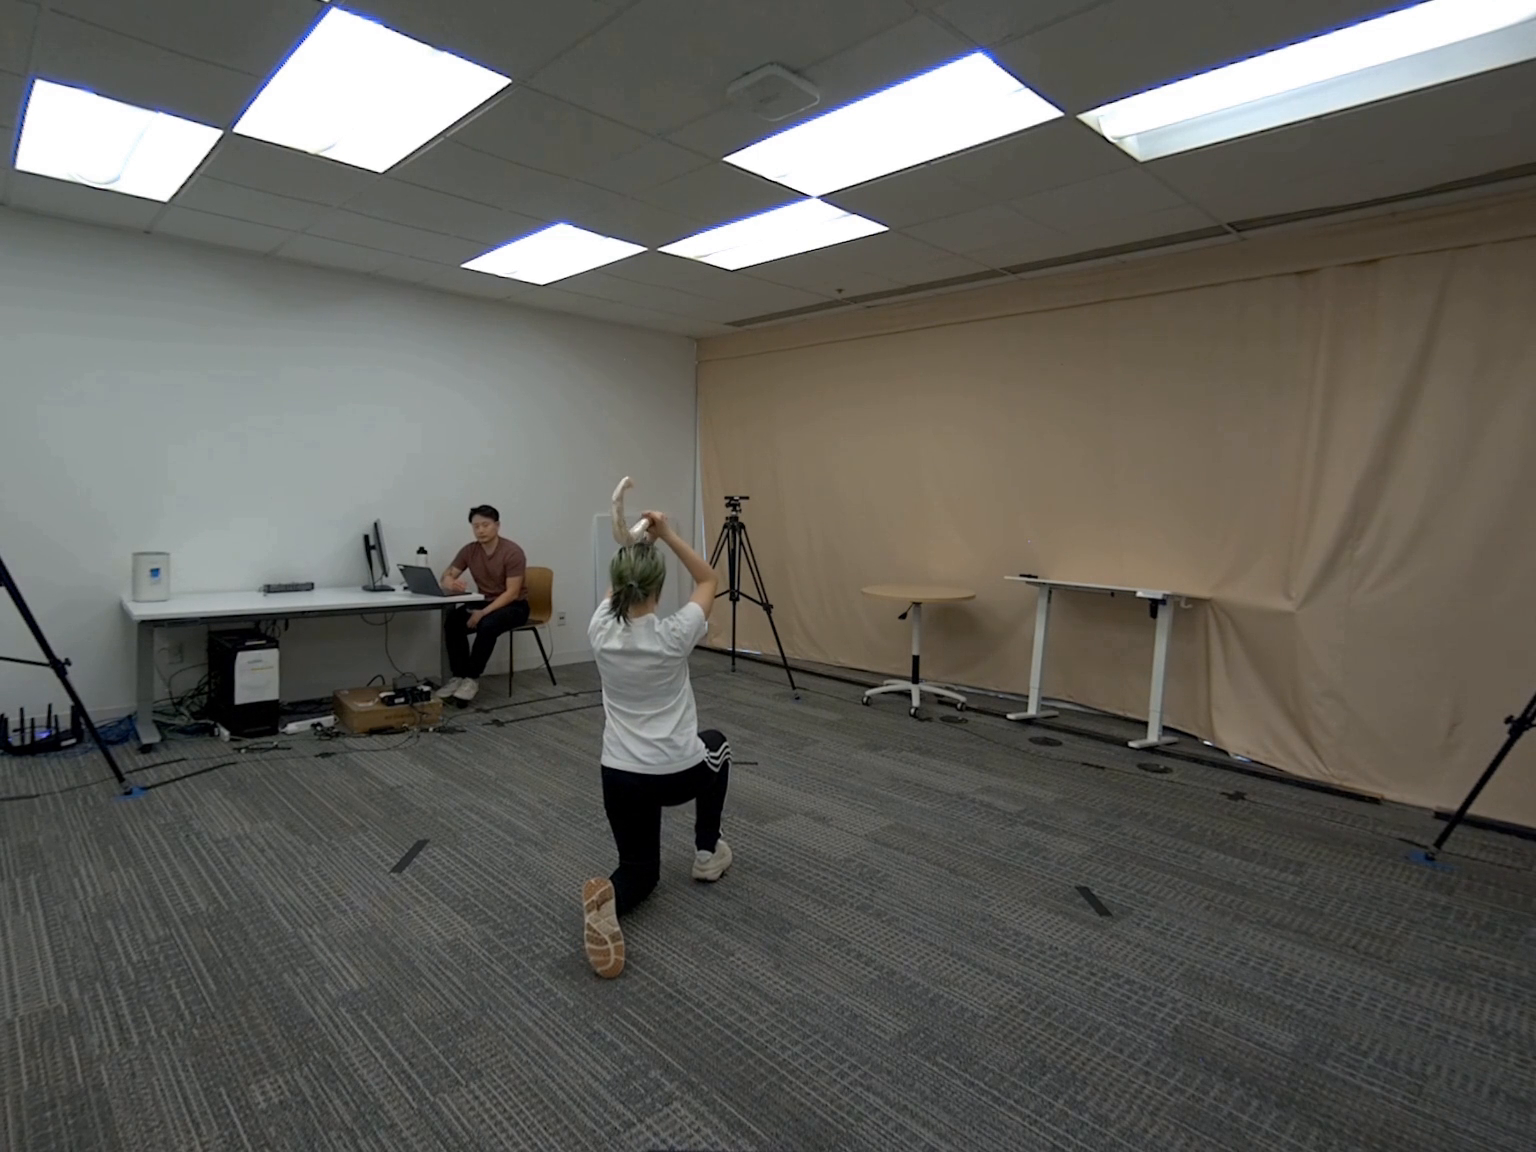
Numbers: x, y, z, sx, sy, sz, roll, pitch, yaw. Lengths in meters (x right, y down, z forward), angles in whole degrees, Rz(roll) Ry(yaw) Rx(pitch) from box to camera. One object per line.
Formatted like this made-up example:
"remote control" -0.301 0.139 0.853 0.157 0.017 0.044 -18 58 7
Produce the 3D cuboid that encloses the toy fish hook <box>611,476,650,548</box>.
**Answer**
"toy fish hook" -0.444 -0.230 2.861 0.048 0.223 0.506 4 8 5
